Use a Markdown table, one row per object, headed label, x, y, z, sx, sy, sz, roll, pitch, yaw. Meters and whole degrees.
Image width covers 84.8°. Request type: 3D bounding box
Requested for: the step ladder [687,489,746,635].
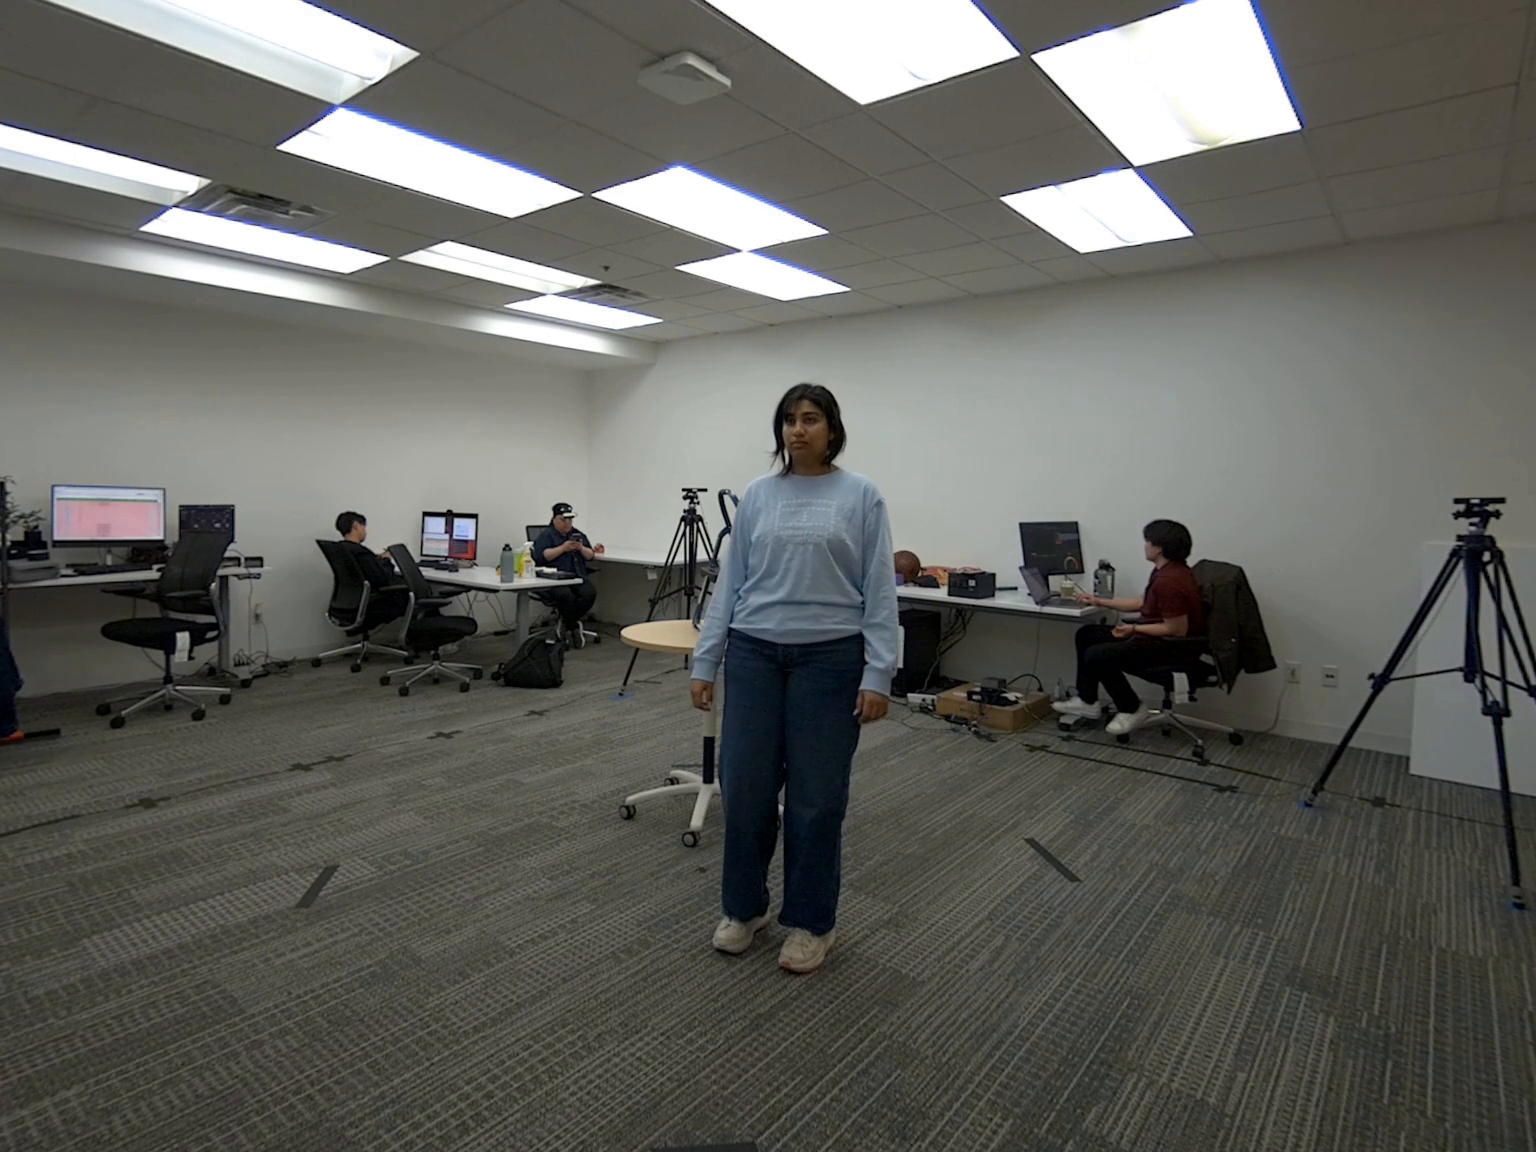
| label | x | y | z | sx | sy | sz | roll | pitch | yaw |
| --- | --- | --- | --- | --- | --- | --- | --- | --- | --- |
| step ladder | -0.126 | -0.065 | 3.615 | 0.344 | 0.604 | 0.438 | 2 | 3 | -13 |
